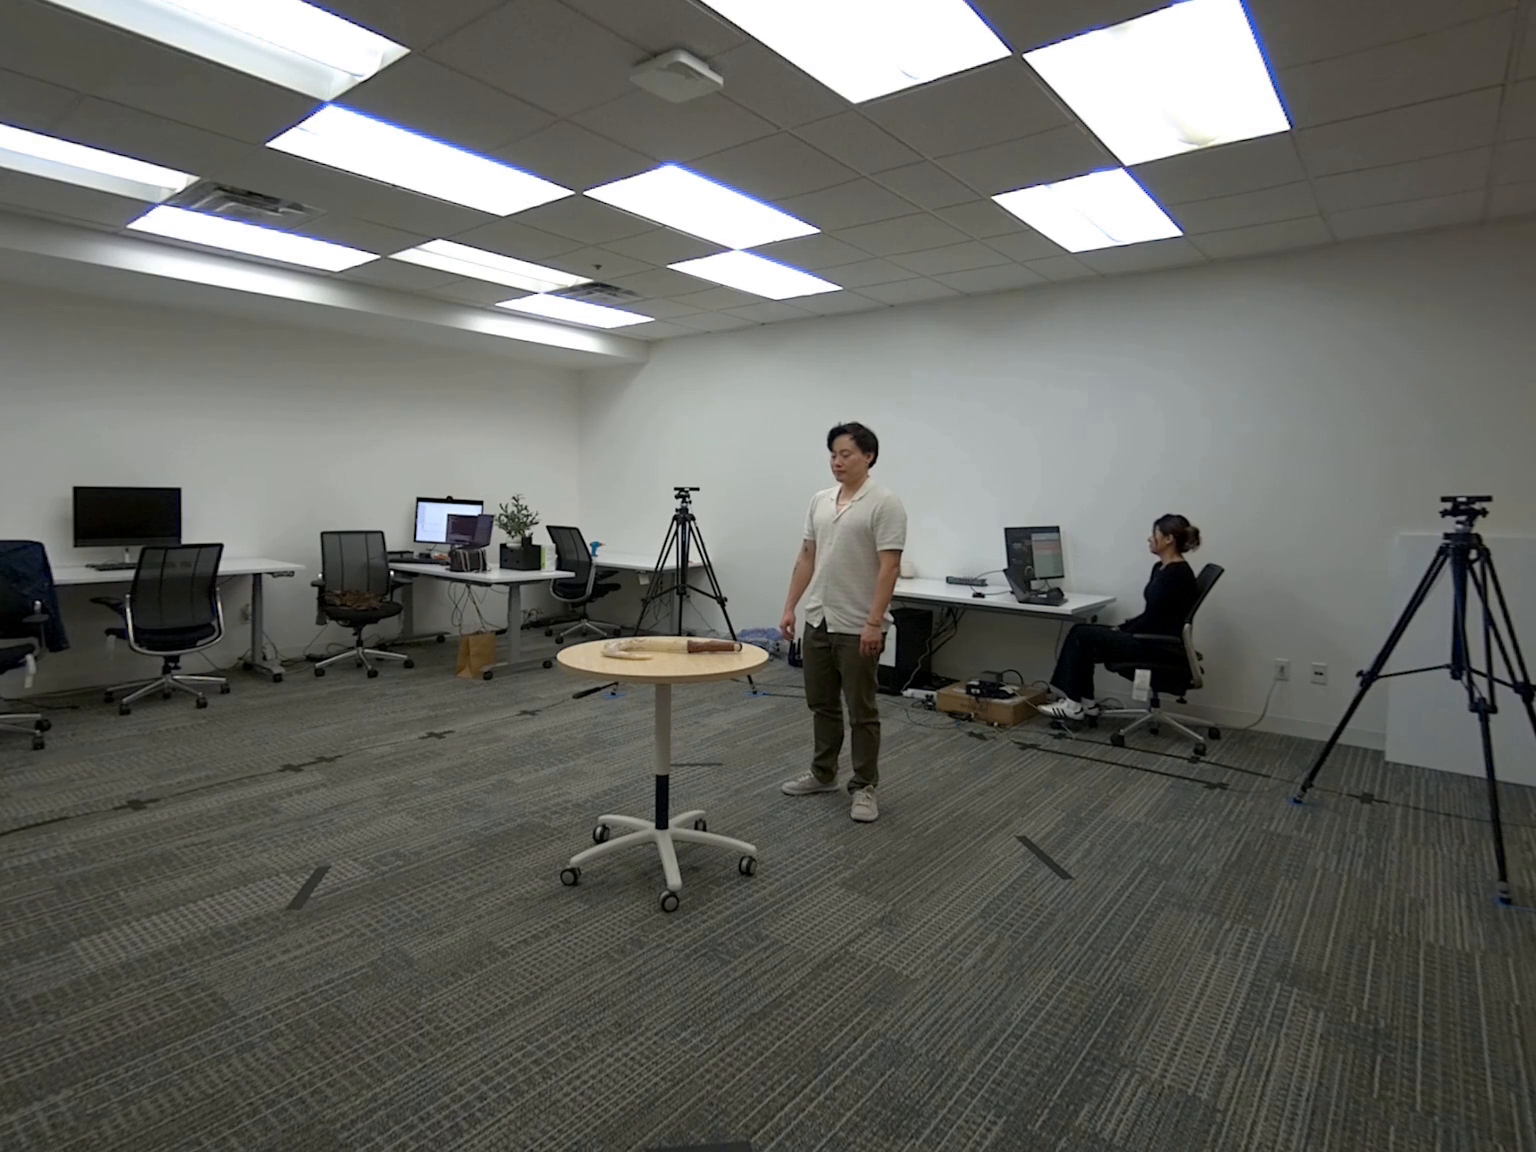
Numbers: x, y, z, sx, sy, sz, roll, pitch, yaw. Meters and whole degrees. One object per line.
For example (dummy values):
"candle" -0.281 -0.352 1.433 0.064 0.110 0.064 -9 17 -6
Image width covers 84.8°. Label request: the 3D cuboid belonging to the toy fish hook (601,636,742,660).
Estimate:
"toy fish hook" -0.356 0.269 3.073 0.508 0.048 0.227 -1 13 2
